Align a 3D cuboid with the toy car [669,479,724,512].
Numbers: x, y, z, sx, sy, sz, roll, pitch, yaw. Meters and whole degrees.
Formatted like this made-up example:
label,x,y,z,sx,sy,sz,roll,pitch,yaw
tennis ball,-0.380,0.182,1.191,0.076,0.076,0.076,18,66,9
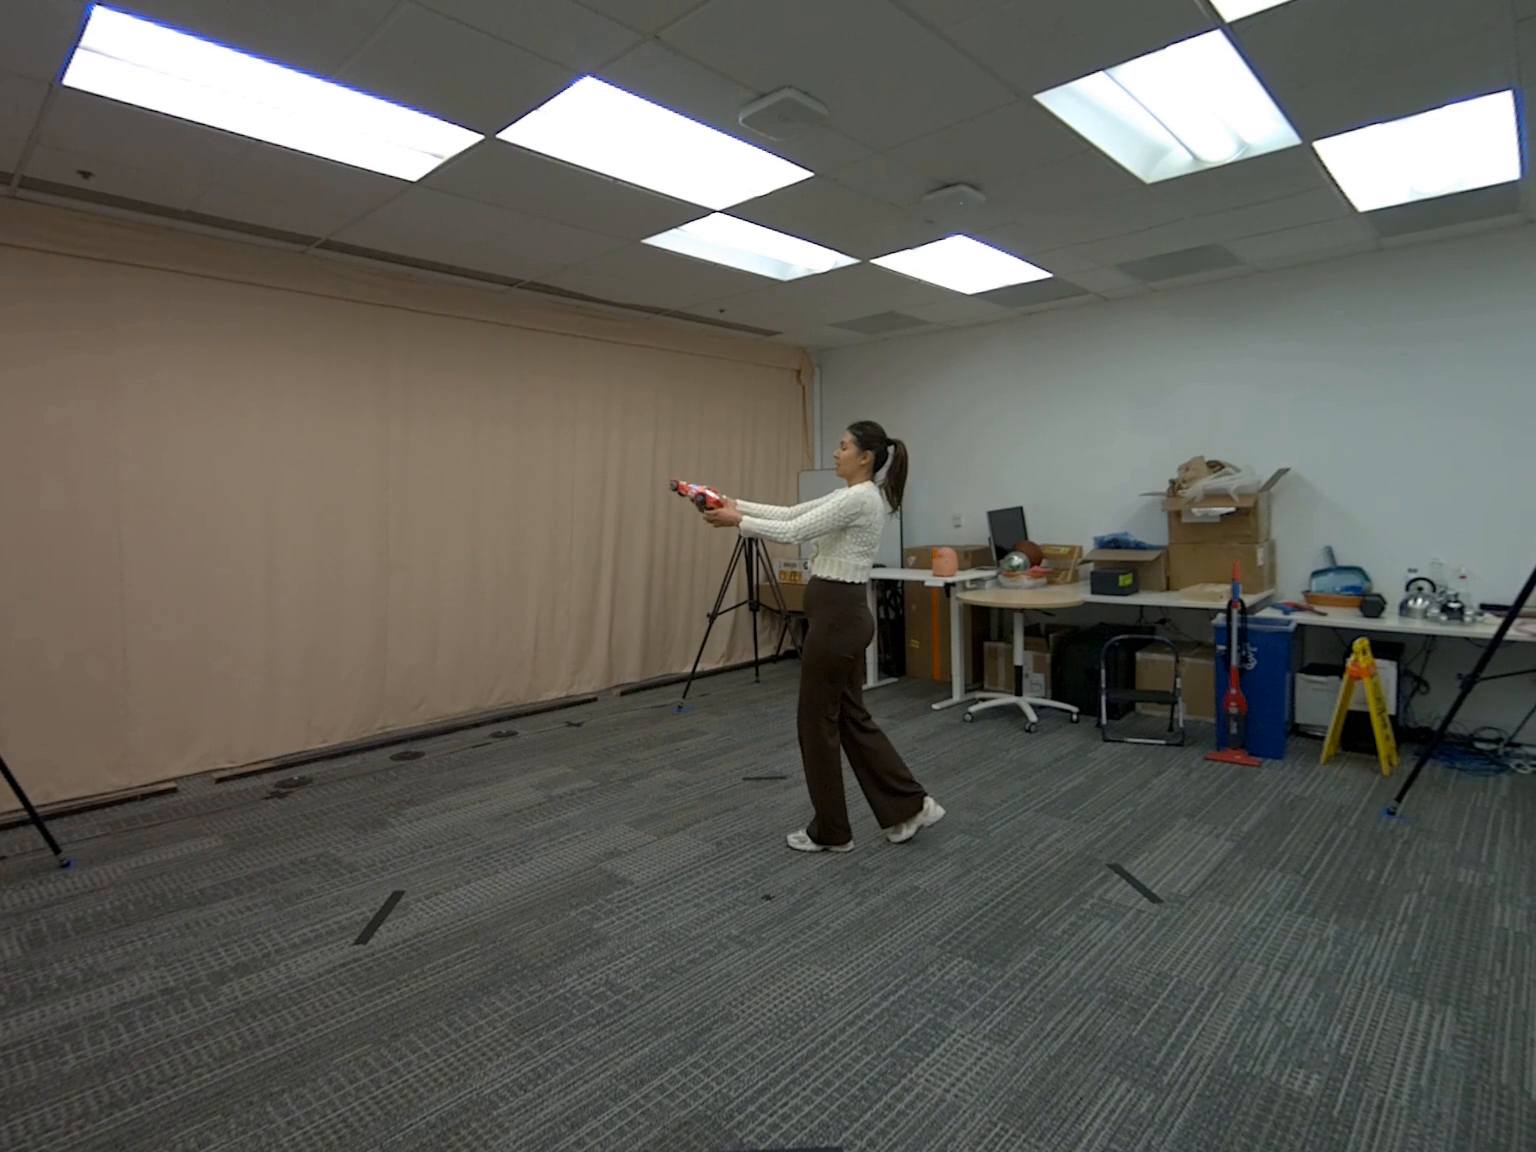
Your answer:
label,x,y,z,sx,sy,sz,roll,pitch,yaw
toy car,-0.287,-0.330,3.478,0.262,0.083,0.126,18,-6,28
